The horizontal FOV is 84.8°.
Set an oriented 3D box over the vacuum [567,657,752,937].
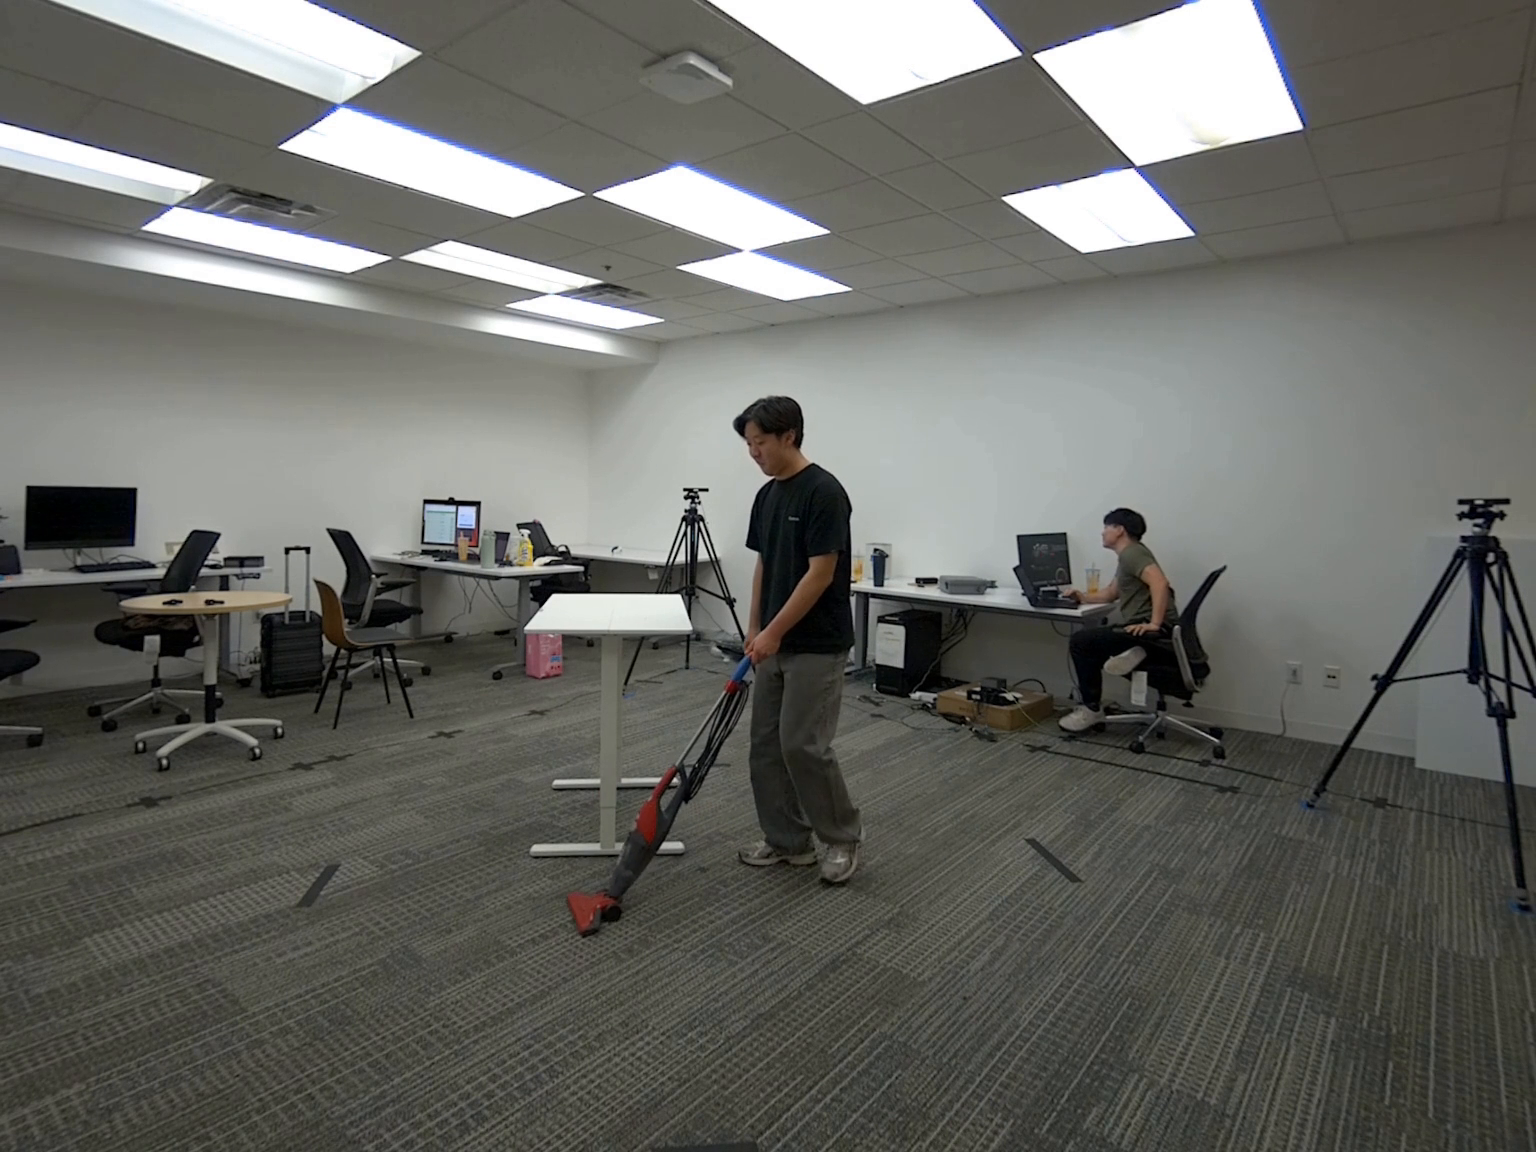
[{"bbox_3d":[-0.286,0.658,2.844,0.140,1.051,0.260,38,-10,-24],"label":"vacuum"}]
